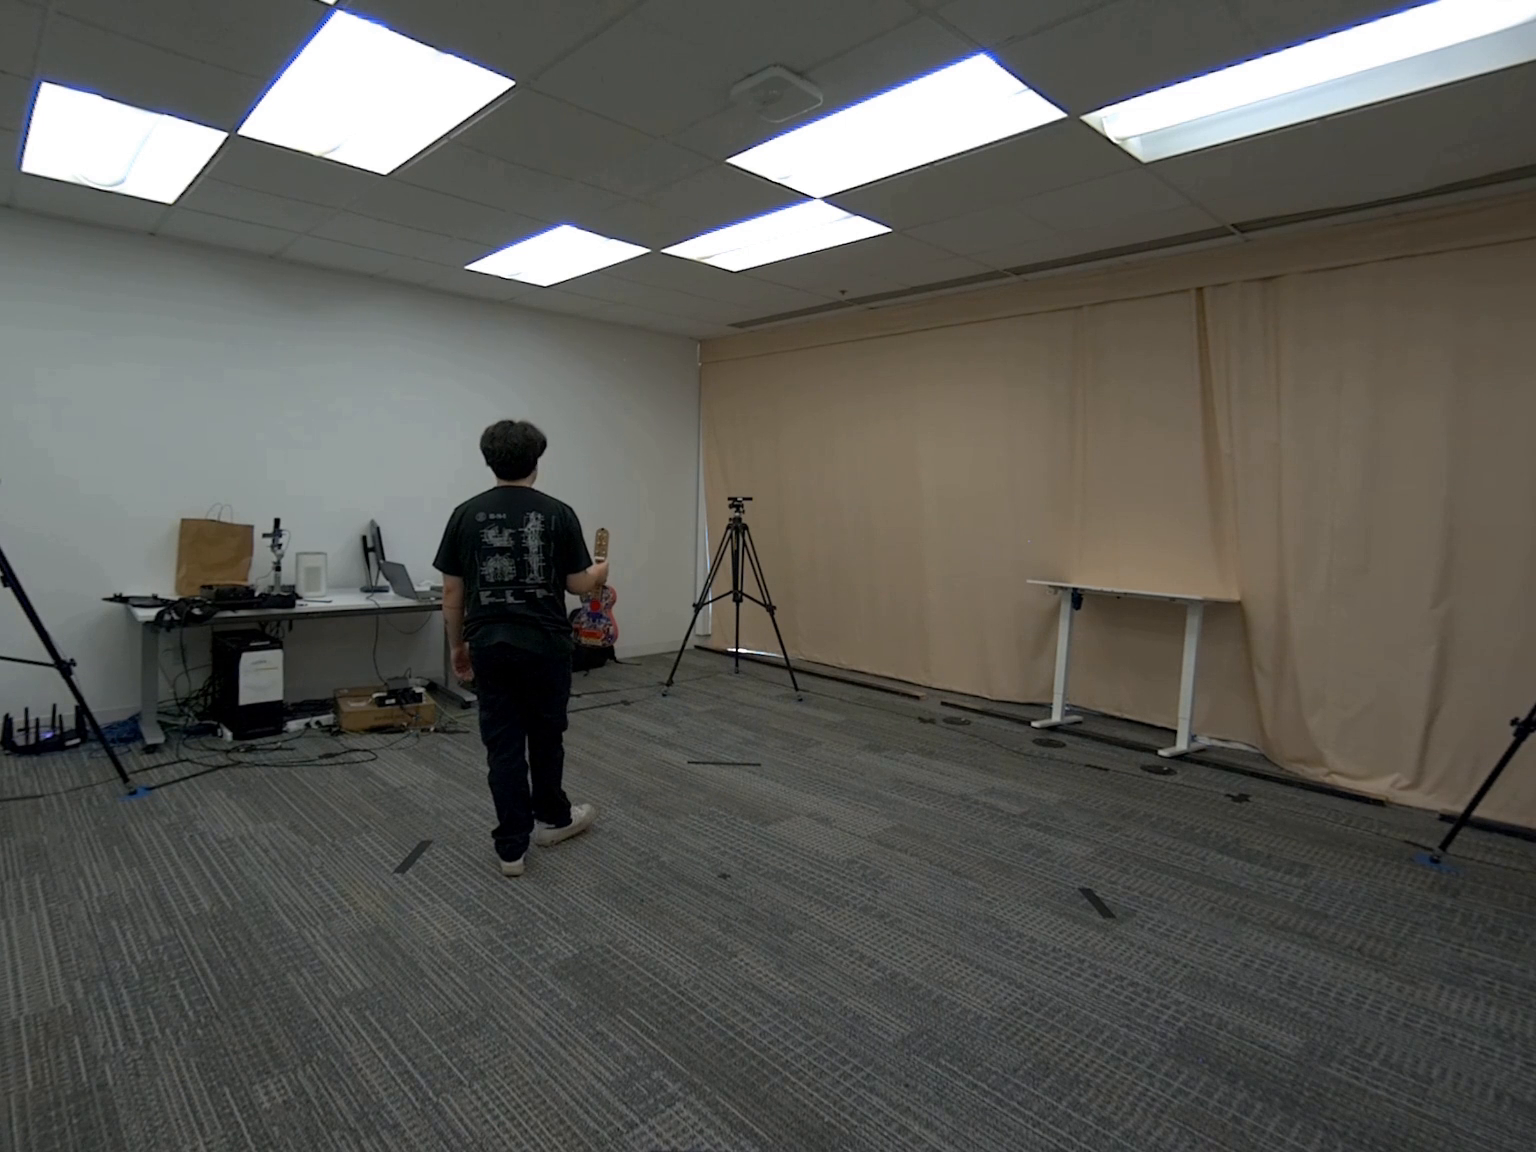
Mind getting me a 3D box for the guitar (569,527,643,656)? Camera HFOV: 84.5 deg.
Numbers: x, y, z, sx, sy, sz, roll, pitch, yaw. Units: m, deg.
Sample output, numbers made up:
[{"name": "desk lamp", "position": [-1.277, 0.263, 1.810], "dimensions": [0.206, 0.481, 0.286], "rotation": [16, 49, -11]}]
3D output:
[{"name": "guitar", "position": [-0.696, 0.062, 3.544], "dimensions": [0.194, 0.498, 0.070], "rotation": [16, -1, 7]}]
